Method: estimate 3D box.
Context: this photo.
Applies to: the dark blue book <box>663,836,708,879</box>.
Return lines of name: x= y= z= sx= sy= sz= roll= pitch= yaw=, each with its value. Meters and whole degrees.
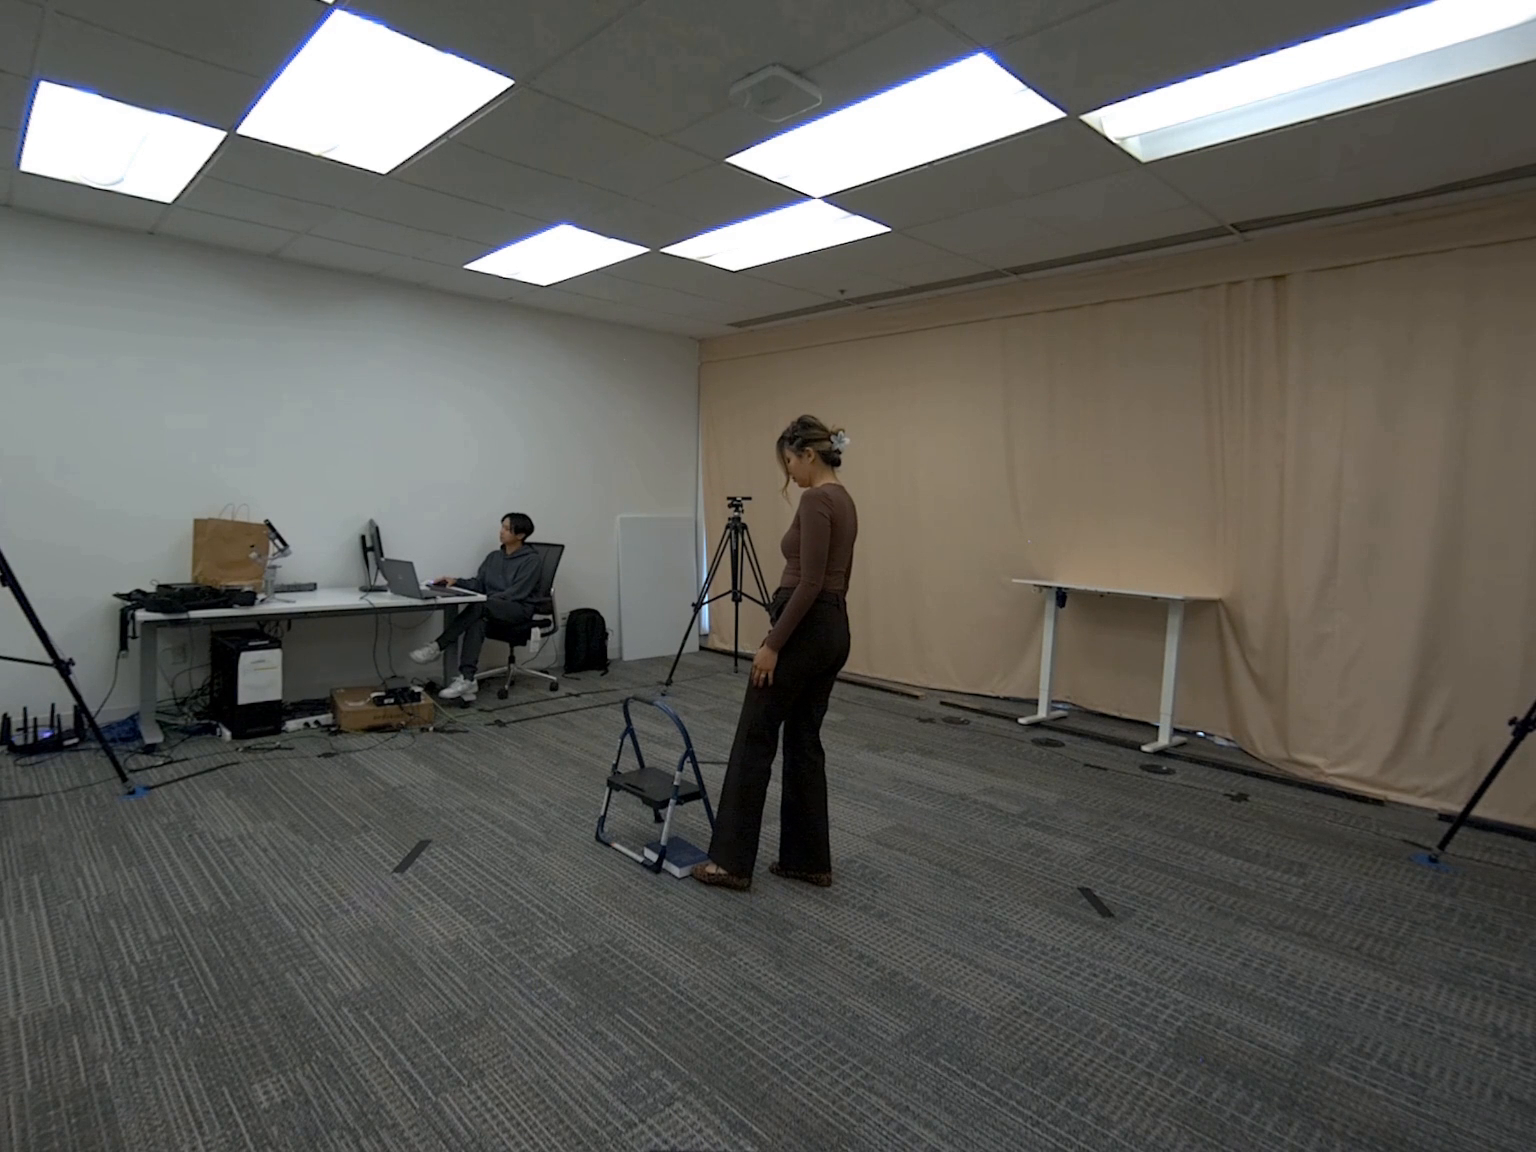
dark blue book: x=-0.347 y=1.064 z=3.205 sx=0.160 sy=0.045 sz=0.251 roll=-4 pitch=8 yaw=-40
